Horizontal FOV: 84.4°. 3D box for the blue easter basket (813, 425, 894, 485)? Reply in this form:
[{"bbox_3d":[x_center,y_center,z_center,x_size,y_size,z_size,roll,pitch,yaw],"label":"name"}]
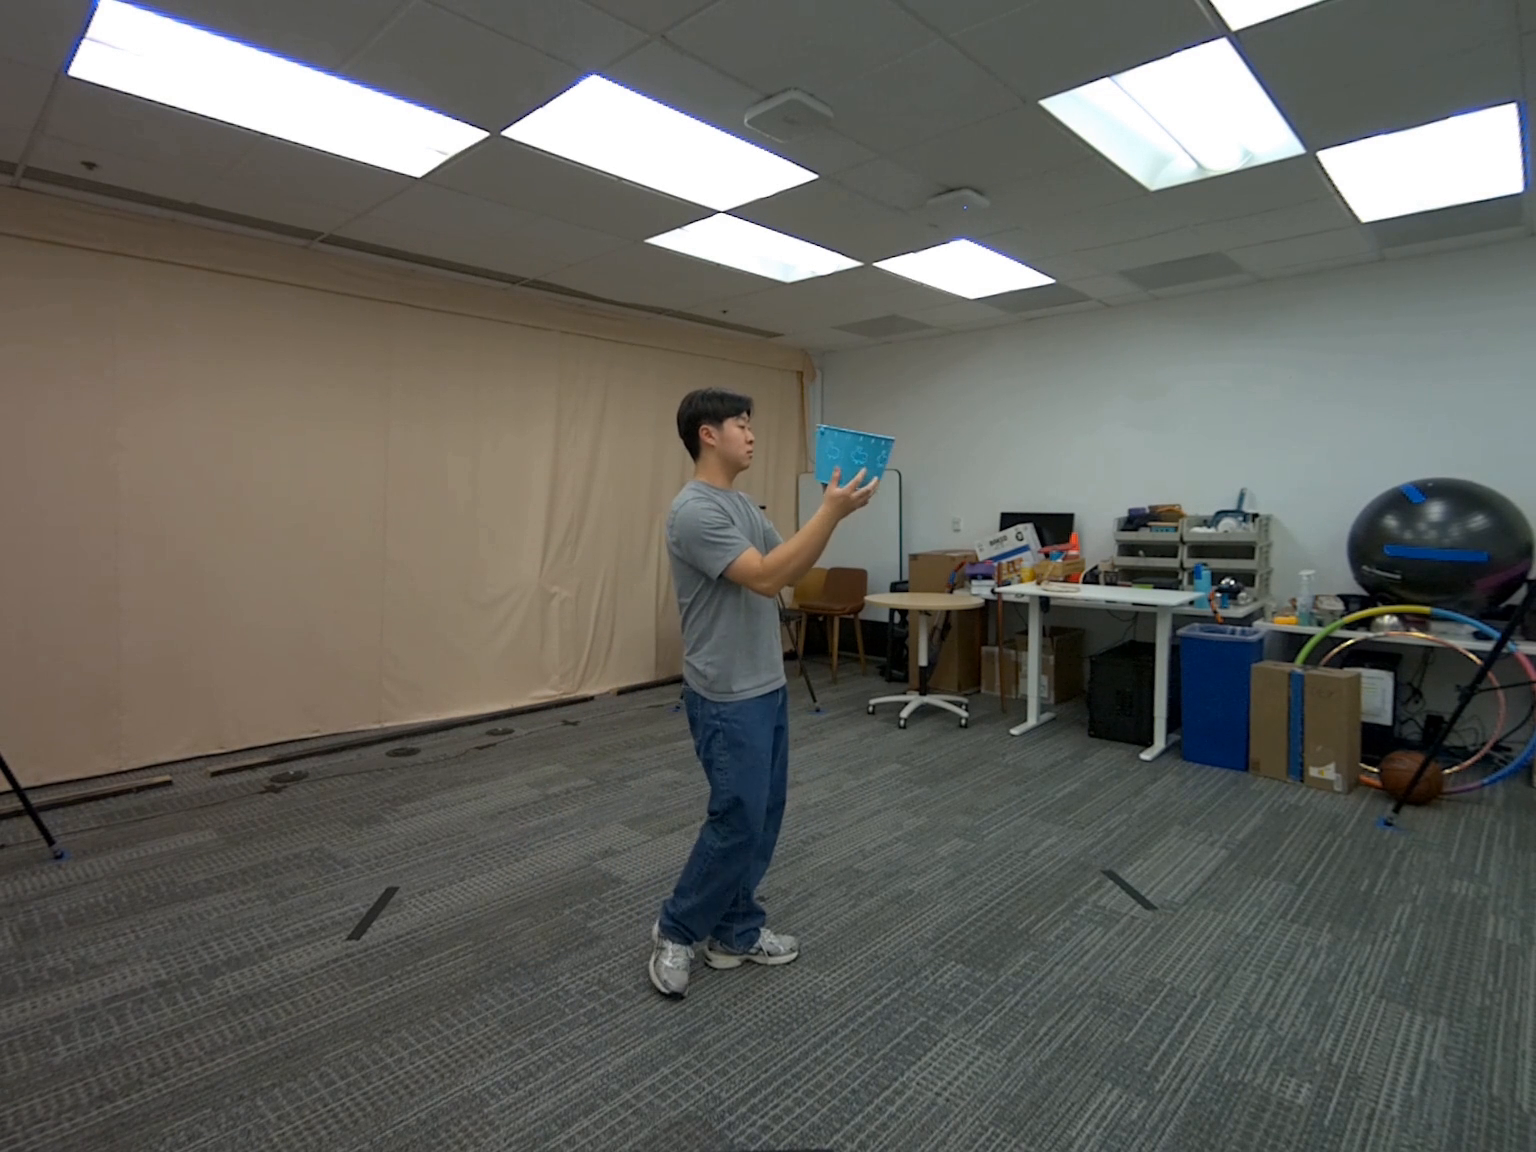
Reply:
[{"bbox_3d":[0.233,-0.328,2.346,0.243,0.155,0.245,9,11,-4],"label":"blue easter basket"}]
